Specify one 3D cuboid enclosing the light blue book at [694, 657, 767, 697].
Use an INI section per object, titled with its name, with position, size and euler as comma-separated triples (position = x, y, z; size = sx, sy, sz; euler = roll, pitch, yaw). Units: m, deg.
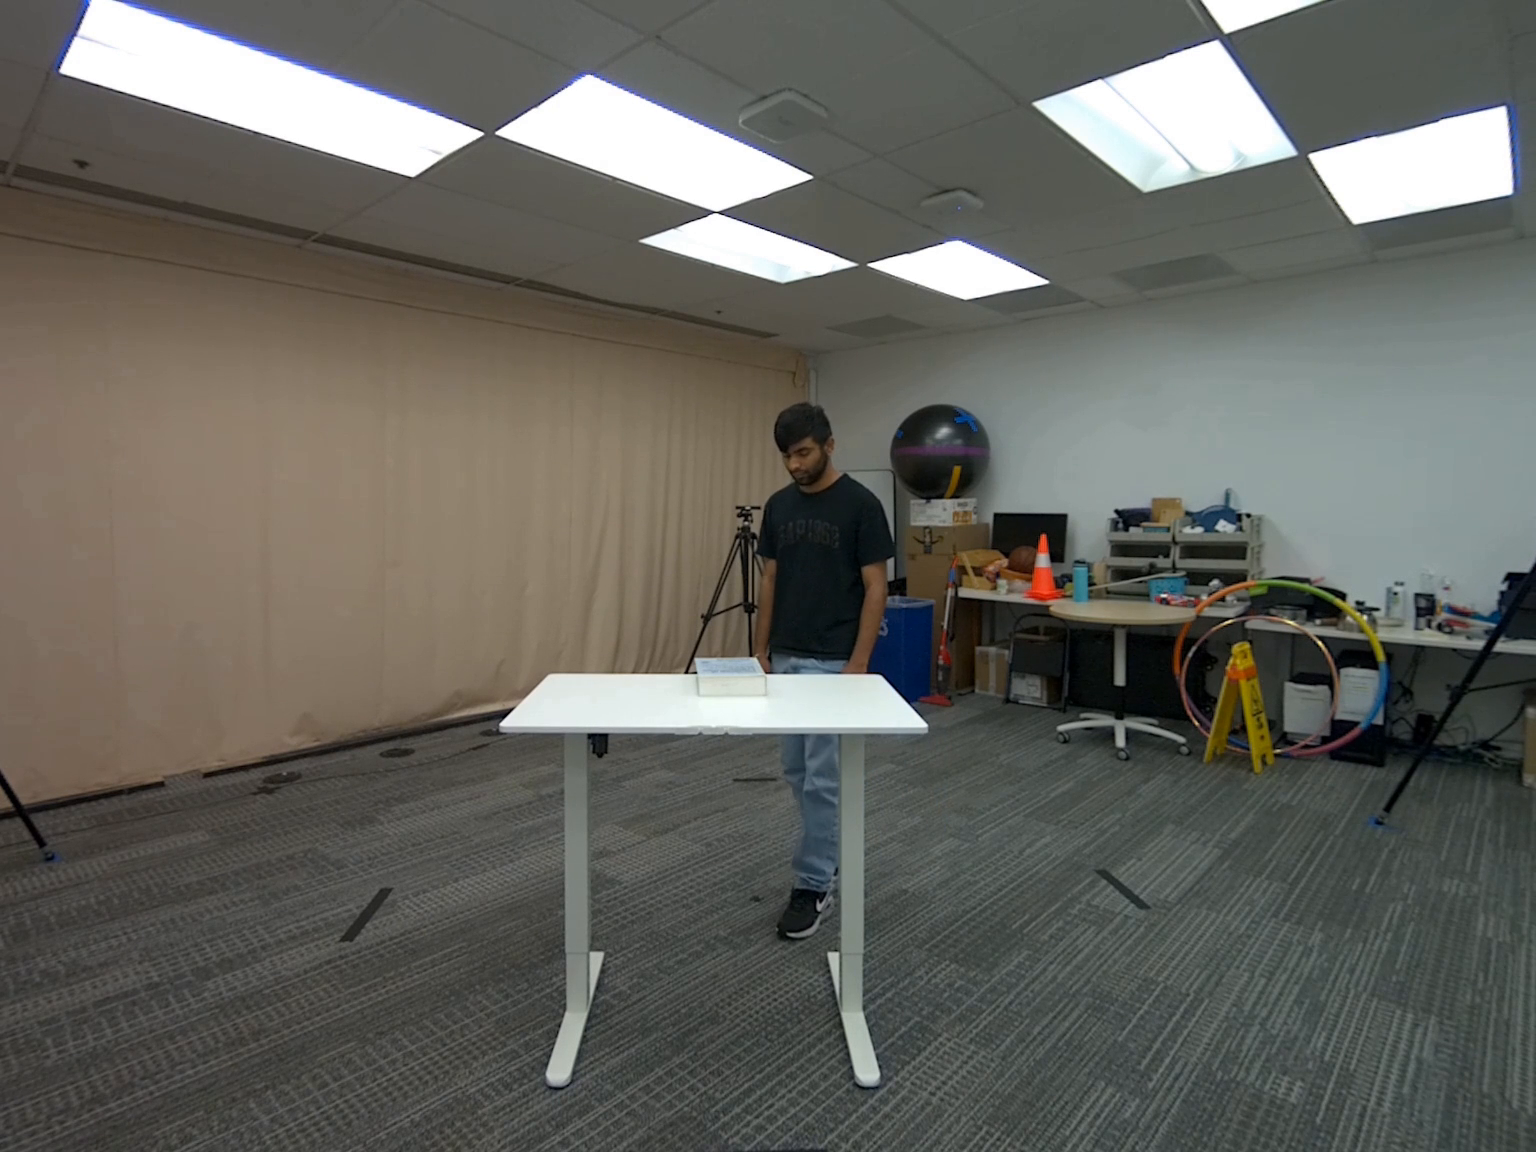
[light blue book]
position = -0.108, 0.283, 2.392
size = 0.191, 0.059, 0.263
euler = 0, 5, -5
